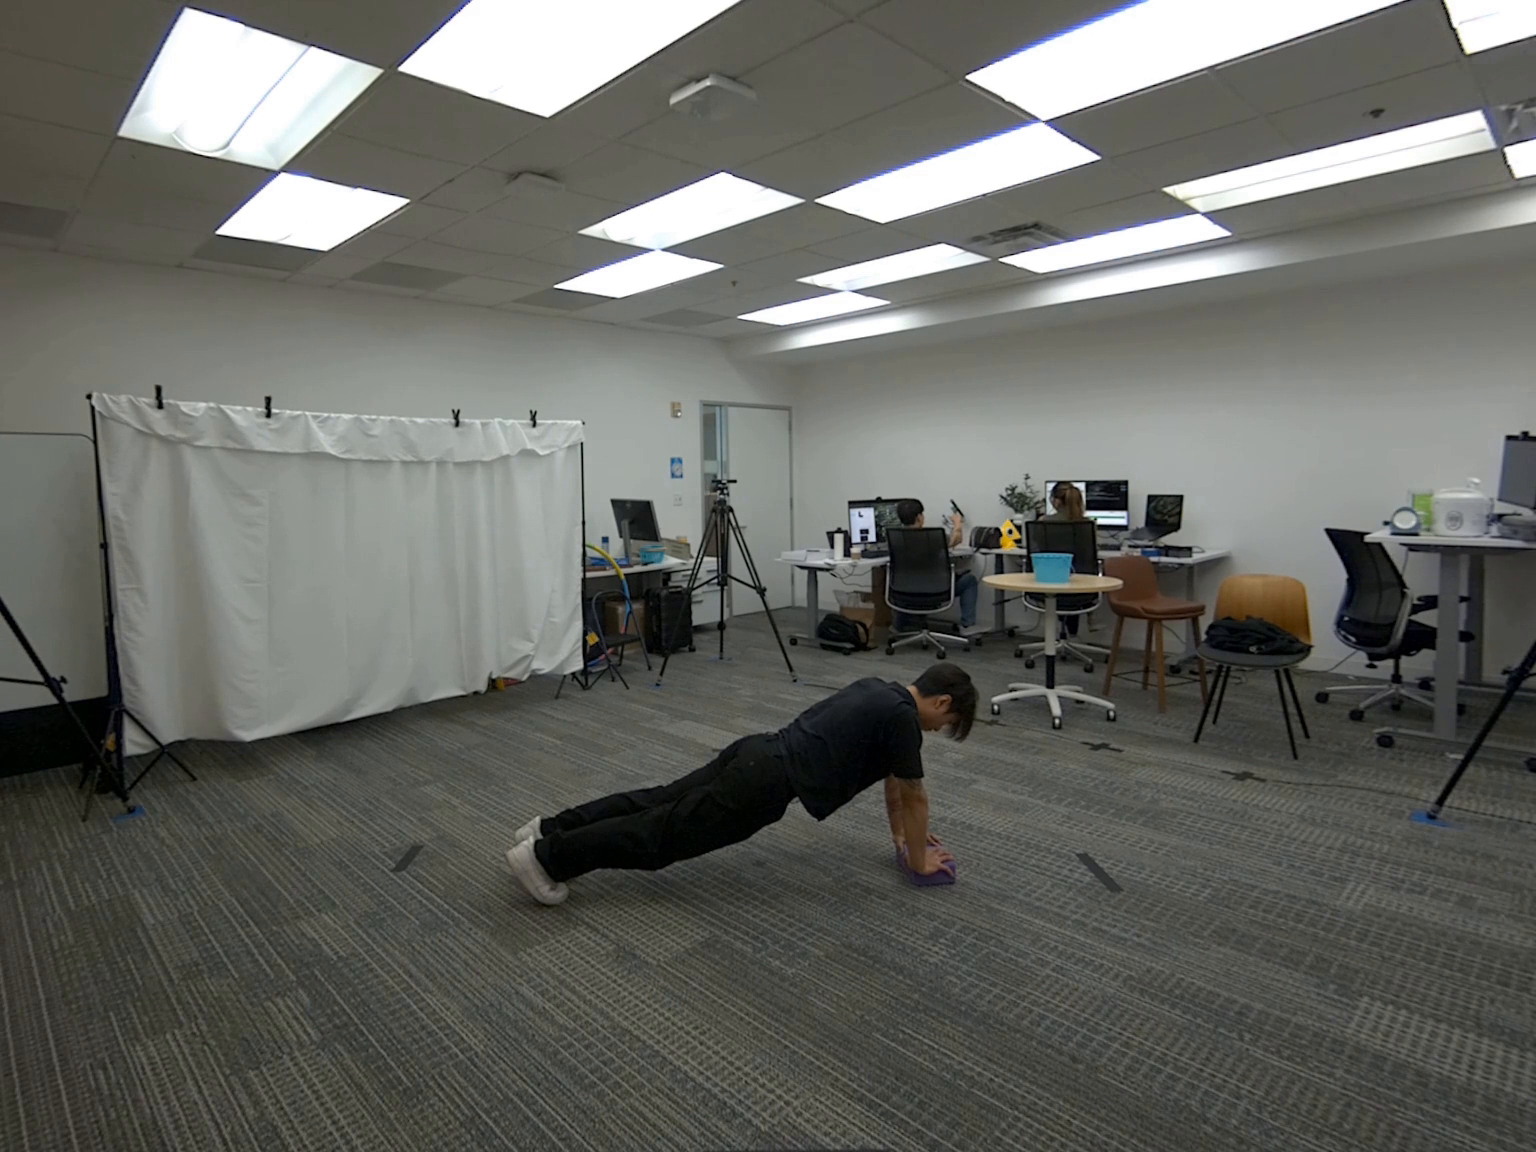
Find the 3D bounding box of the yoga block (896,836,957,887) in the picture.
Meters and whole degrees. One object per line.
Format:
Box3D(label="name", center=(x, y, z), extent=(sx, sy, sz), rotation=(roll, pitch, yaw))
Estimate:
Box3D(label="yoga block", center=(0.554, 1.005, 3.027), extent=(0.148, 0.076, 0.232), rotation=(-3, 6, -7))
